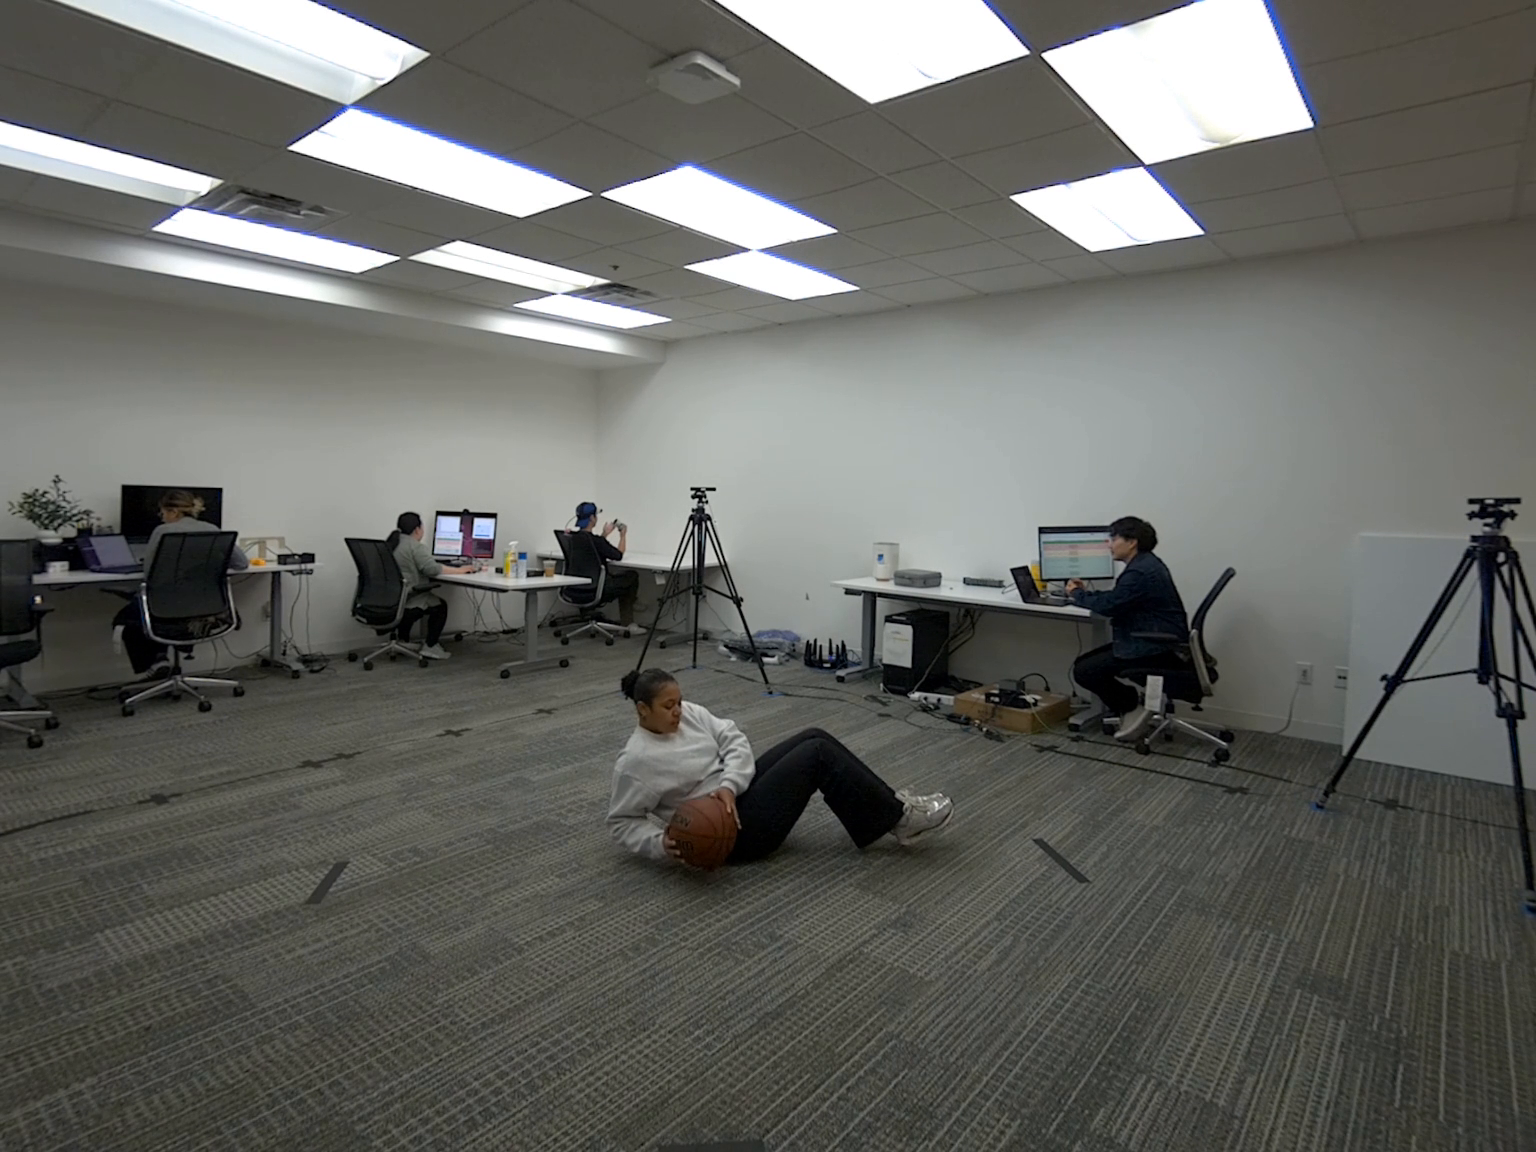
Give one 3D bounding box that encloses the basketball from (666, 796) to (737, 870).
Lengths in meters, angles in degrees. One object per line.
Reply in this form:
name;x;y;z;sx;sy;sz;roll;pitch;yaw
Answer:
basketball;-0.229;0.877;3.008;0.235;0.235;0.237;1;4;-2
